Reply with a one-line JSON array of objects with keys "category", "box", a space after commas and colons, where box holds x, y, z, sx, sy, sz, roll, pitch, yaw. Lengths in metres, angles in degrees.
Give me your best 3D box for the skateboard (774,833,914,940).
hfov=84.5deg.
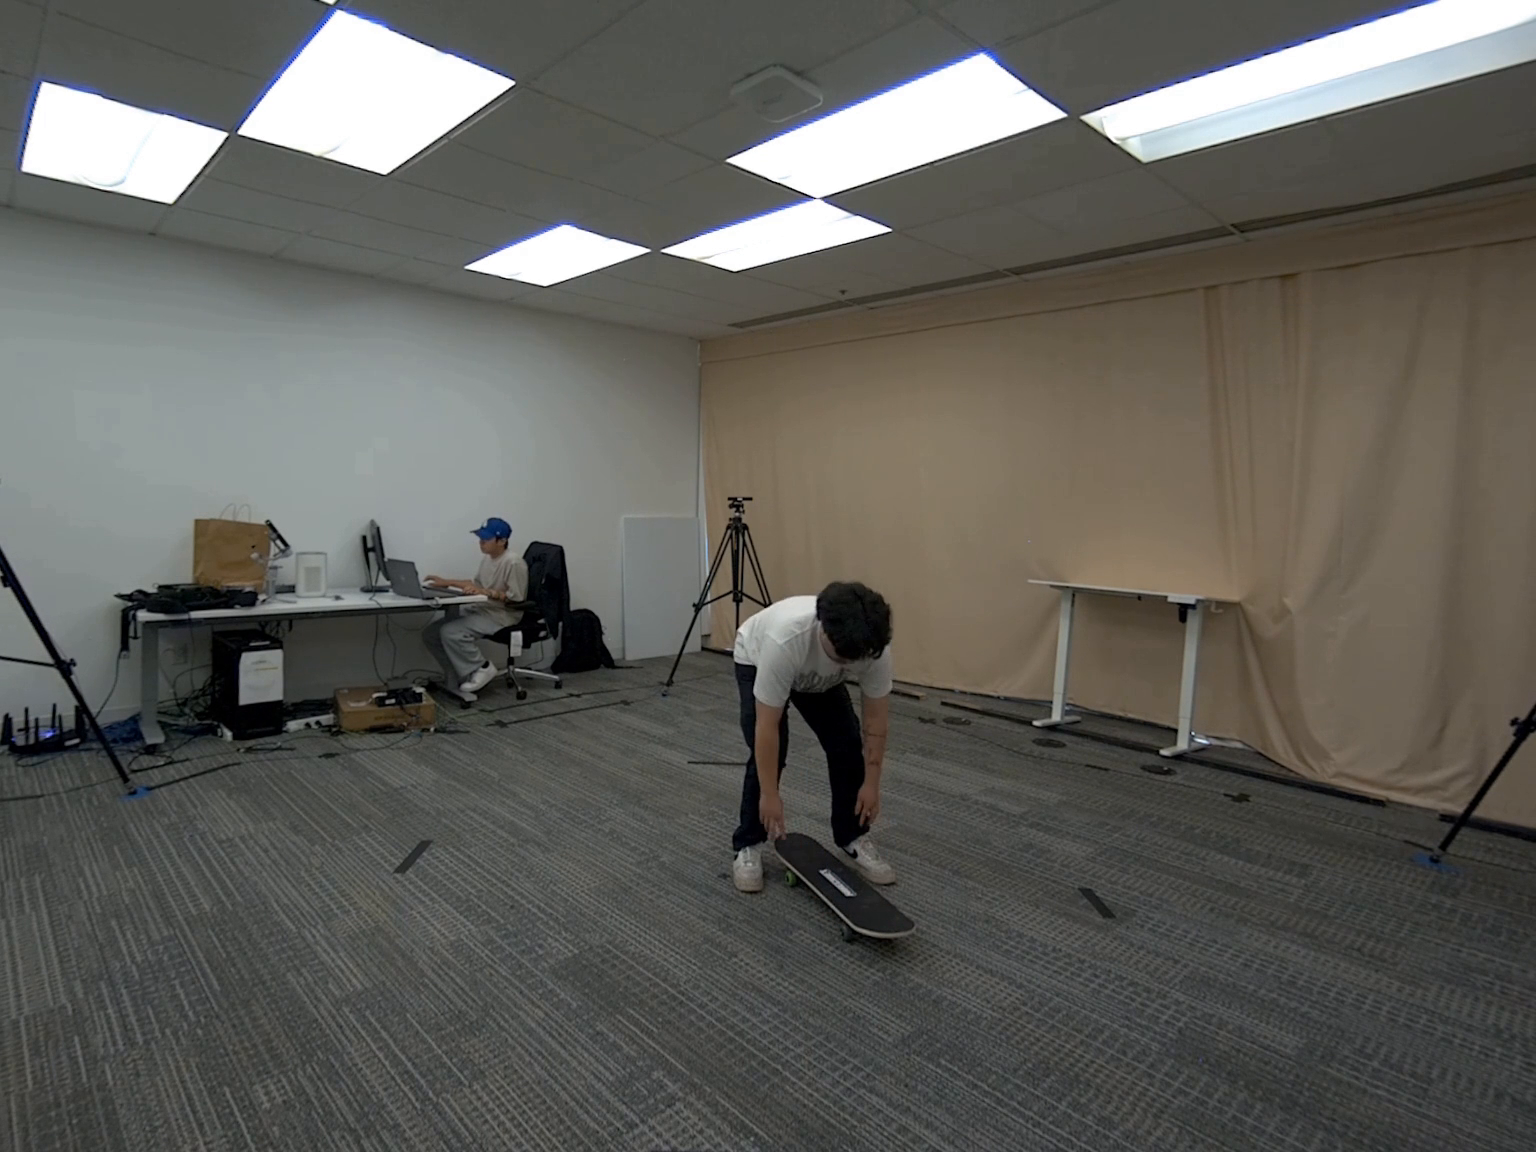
[{"category": "skateboard", "box": [0.230, 1.081, 2.883, 0.190, 0.110, 0.801, -1, 6, -24]}]
